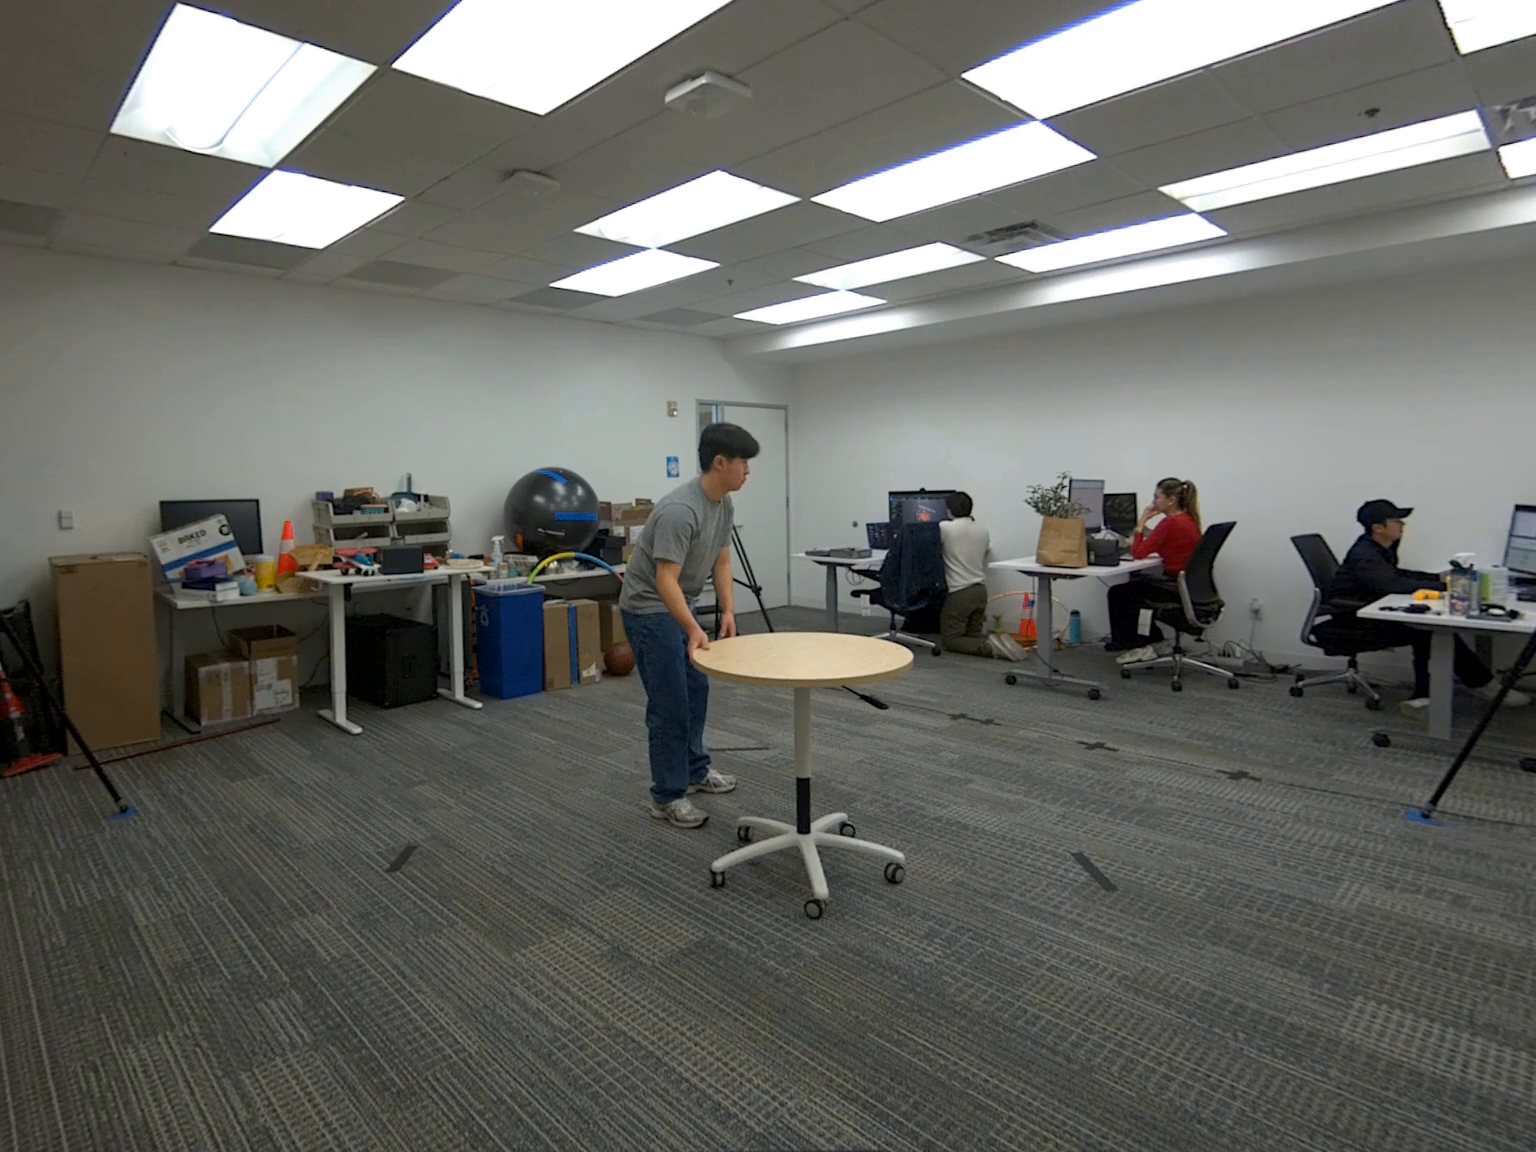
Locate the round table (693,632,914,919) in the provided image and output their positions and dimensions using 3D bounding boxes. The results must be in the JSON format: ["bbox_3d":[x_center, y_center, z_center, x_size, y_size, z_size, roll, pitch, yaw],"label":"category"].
[{"bbox_3d":[0.122,0.663,3.020,0.763,0.791,0.768,-1,5,-2],"label":"round table"}]
